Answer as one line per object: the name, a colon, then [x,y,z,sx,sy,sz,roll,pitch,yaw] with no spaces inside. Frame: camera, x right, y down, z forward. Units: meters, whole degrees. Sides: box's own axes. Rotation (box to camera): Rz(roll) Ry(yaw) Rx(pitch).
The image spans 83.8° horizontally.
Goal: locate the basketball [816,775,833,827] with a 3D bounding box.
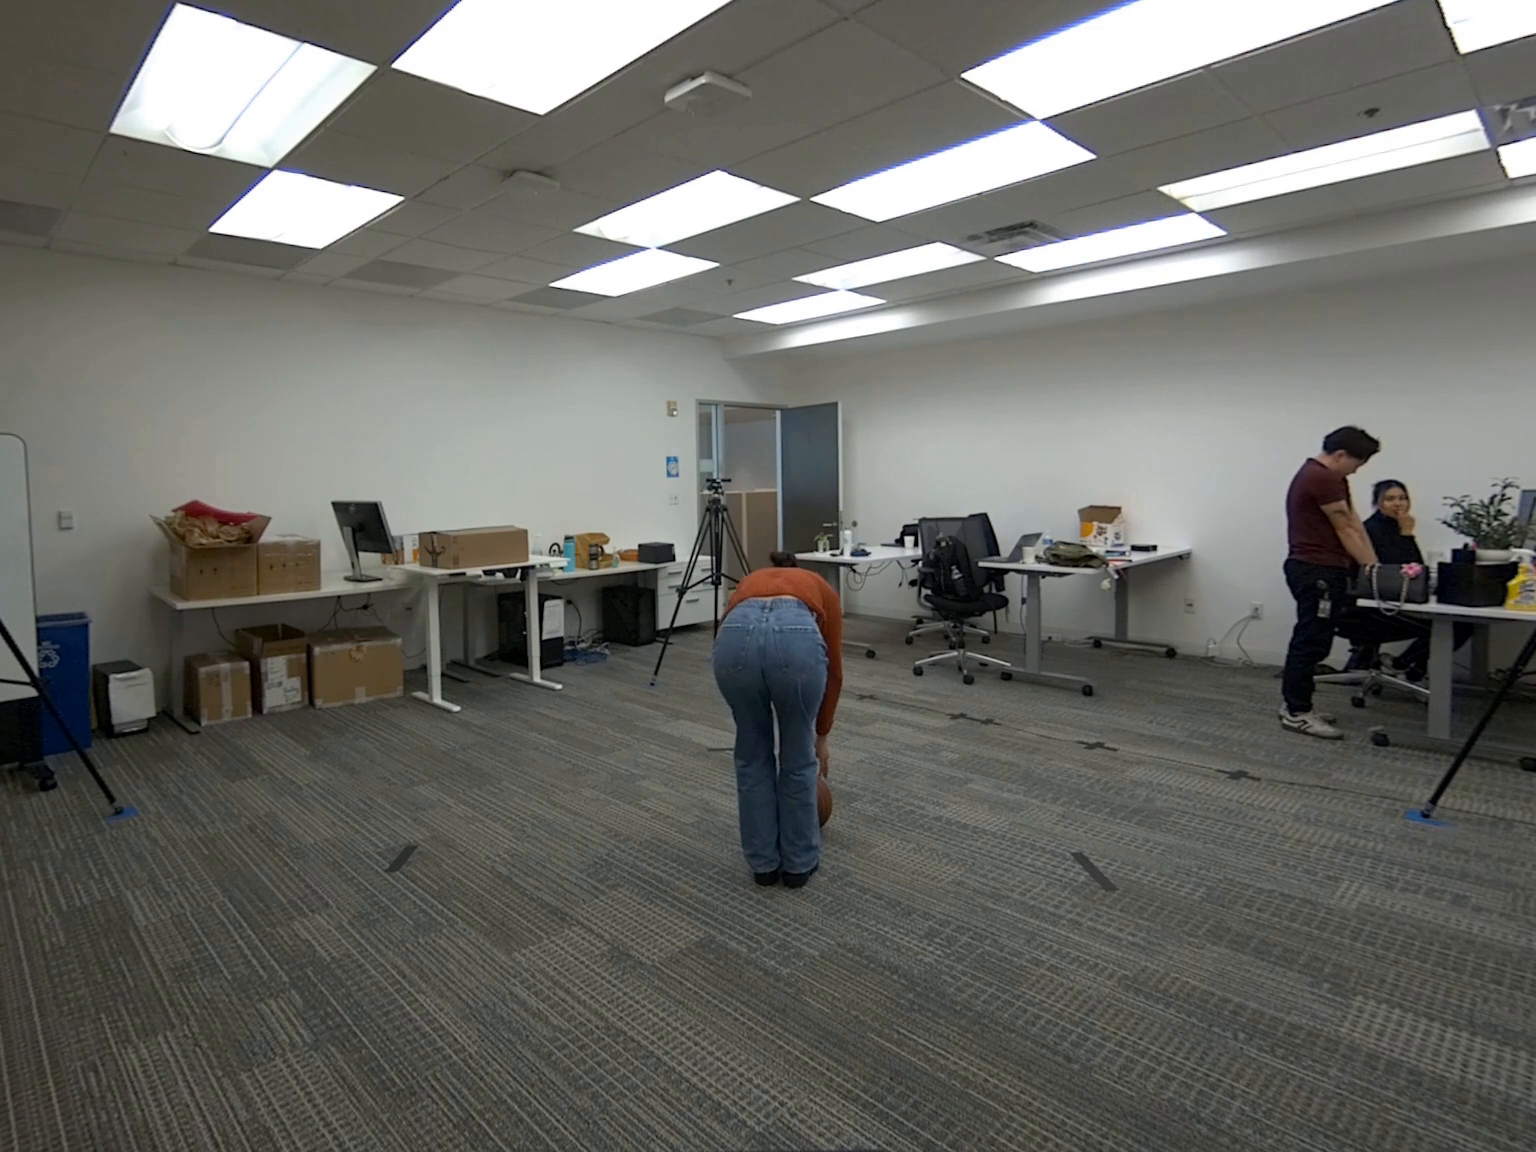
basketball: [0.143,0.891,3.371,0.236,0.235,0.237,-1,5,-2]
